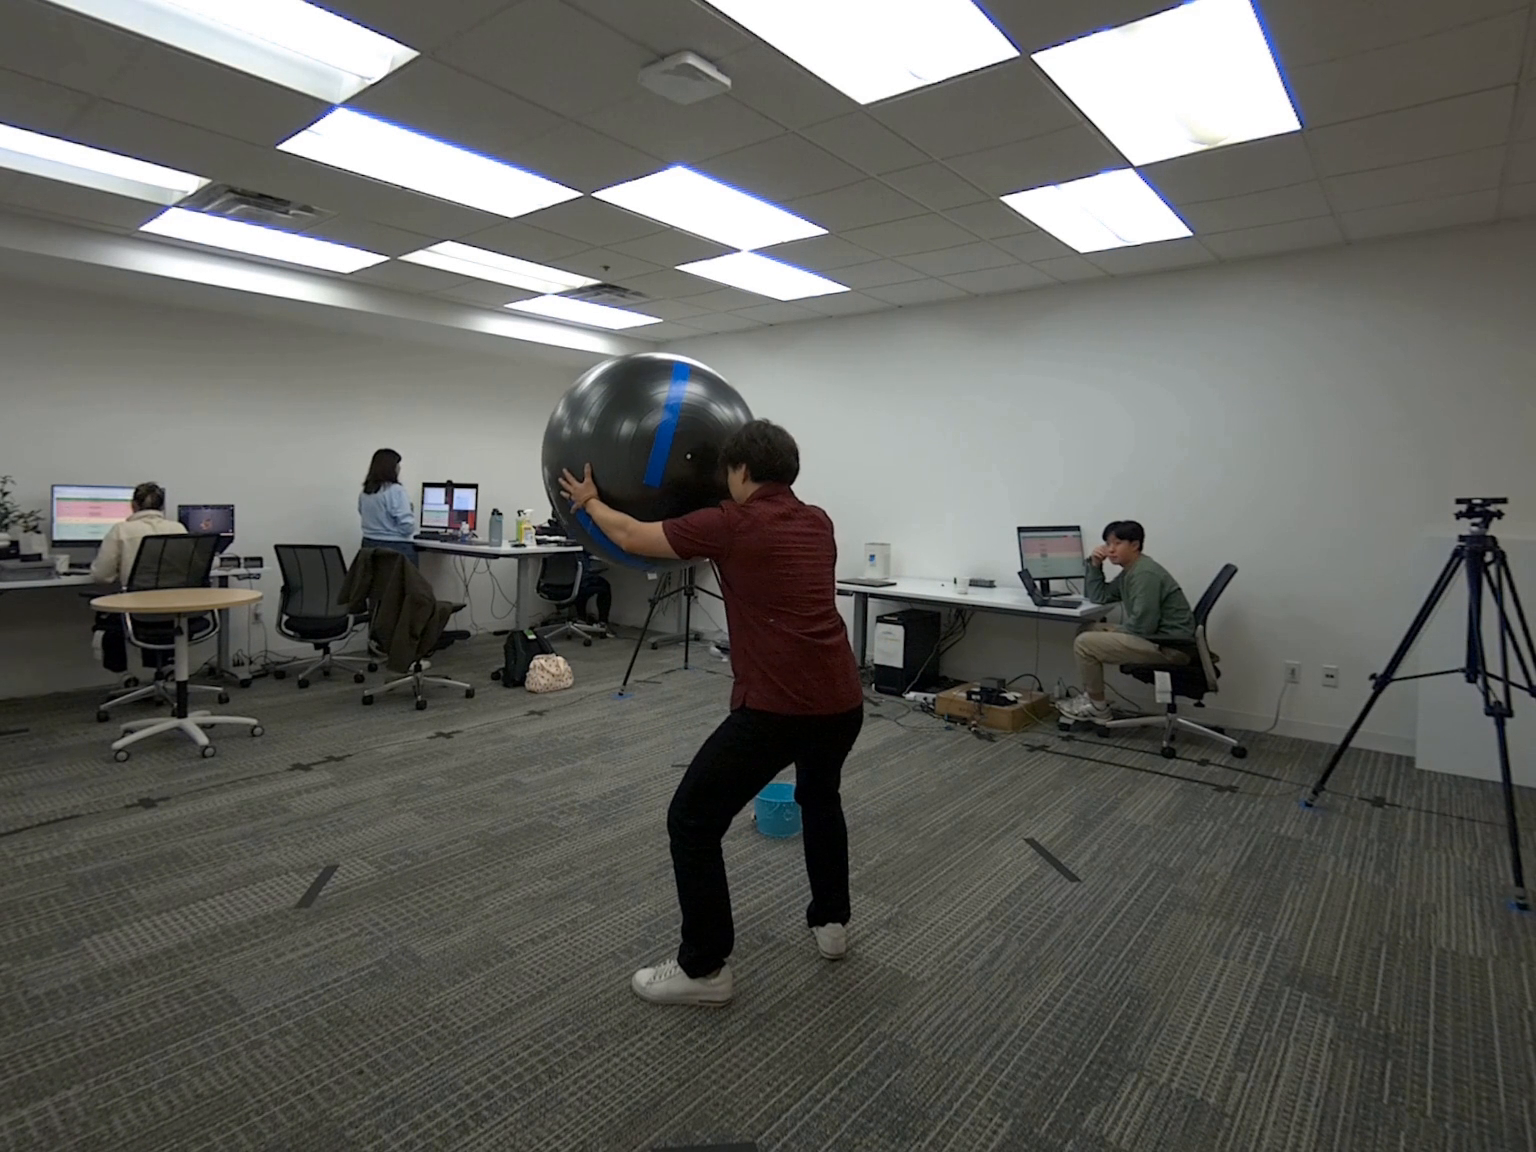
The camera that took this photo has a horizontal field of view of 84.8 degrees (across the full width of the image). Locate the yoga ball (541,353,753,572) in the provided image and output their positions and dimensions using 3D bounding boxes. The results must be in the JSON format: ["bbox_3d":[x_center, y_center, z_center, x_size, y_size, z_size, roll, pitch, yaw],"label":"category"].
[{"bbox_3d":[-0.405,-0.383,2.944,0.757,0.756,0.762,1,4,-2],"label":"yoga ball"}]
